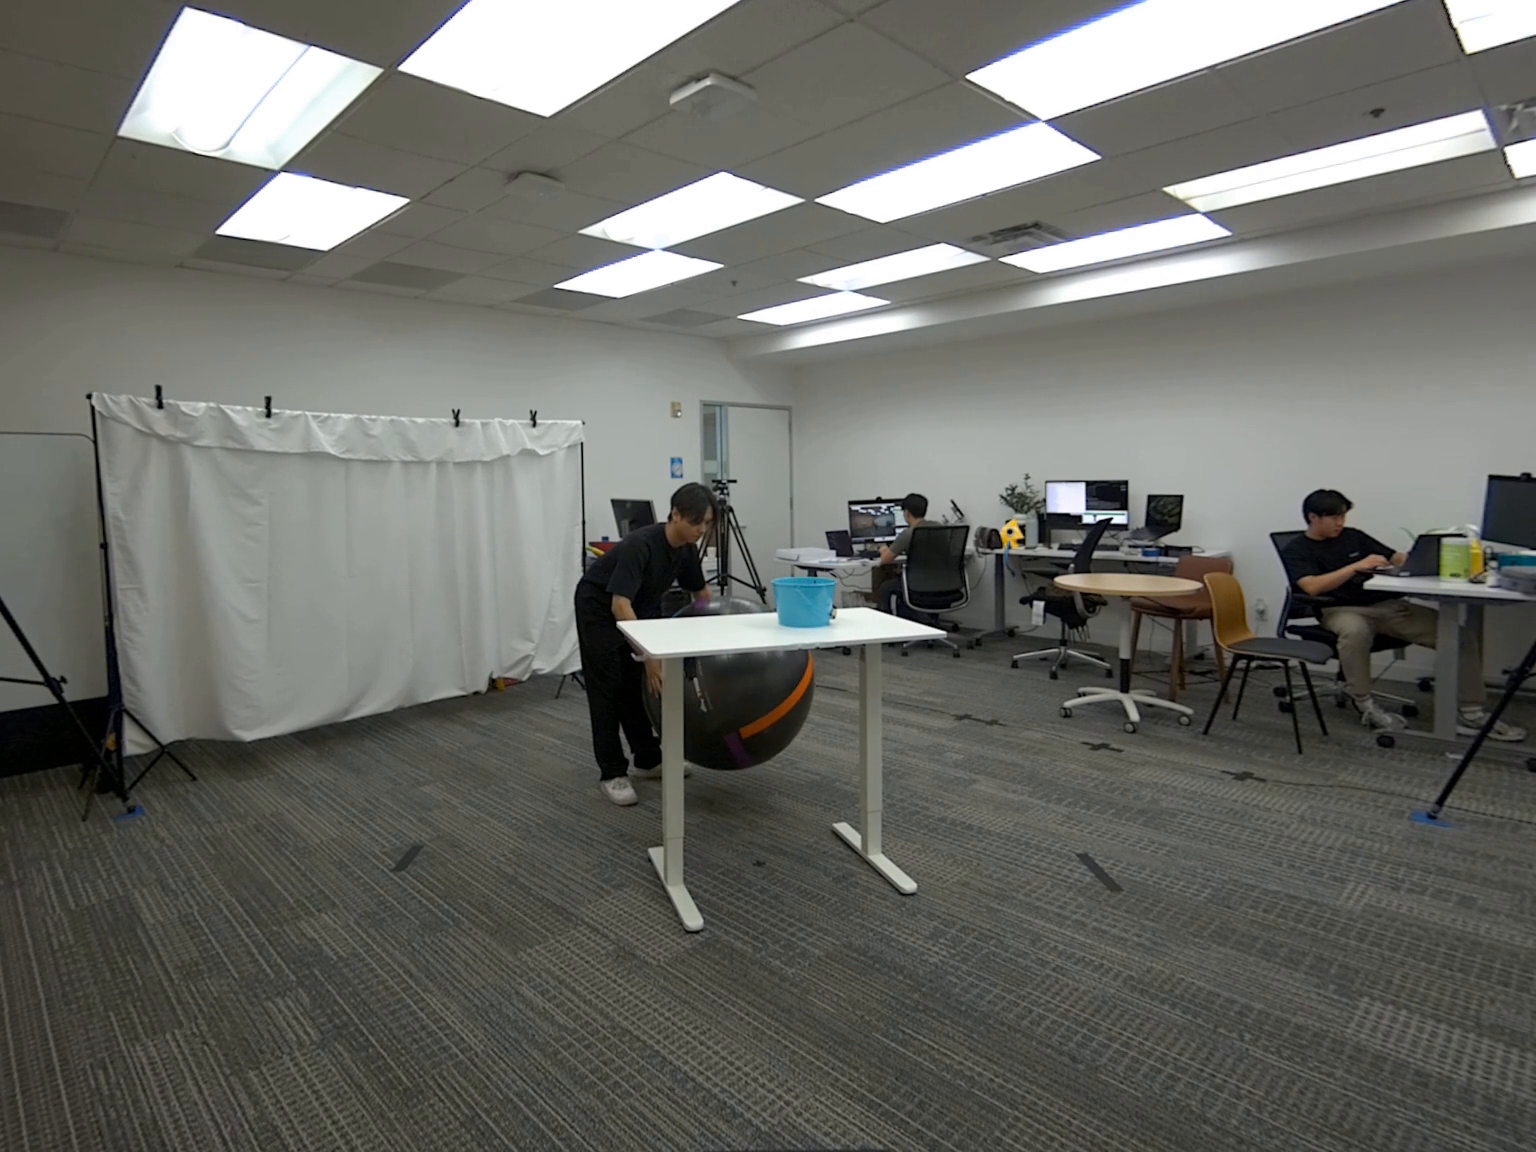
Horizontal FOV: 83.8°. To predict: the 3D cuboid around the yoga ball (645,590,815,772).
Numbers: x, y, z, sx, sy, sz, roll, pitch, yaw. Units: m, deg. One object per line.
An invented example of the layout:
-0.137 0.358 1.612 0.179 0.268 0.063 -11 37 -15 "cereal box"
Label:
-0.180 0.473 3.788 0.757 0.755 0.762 -1 5 -2 "yoga ball"
